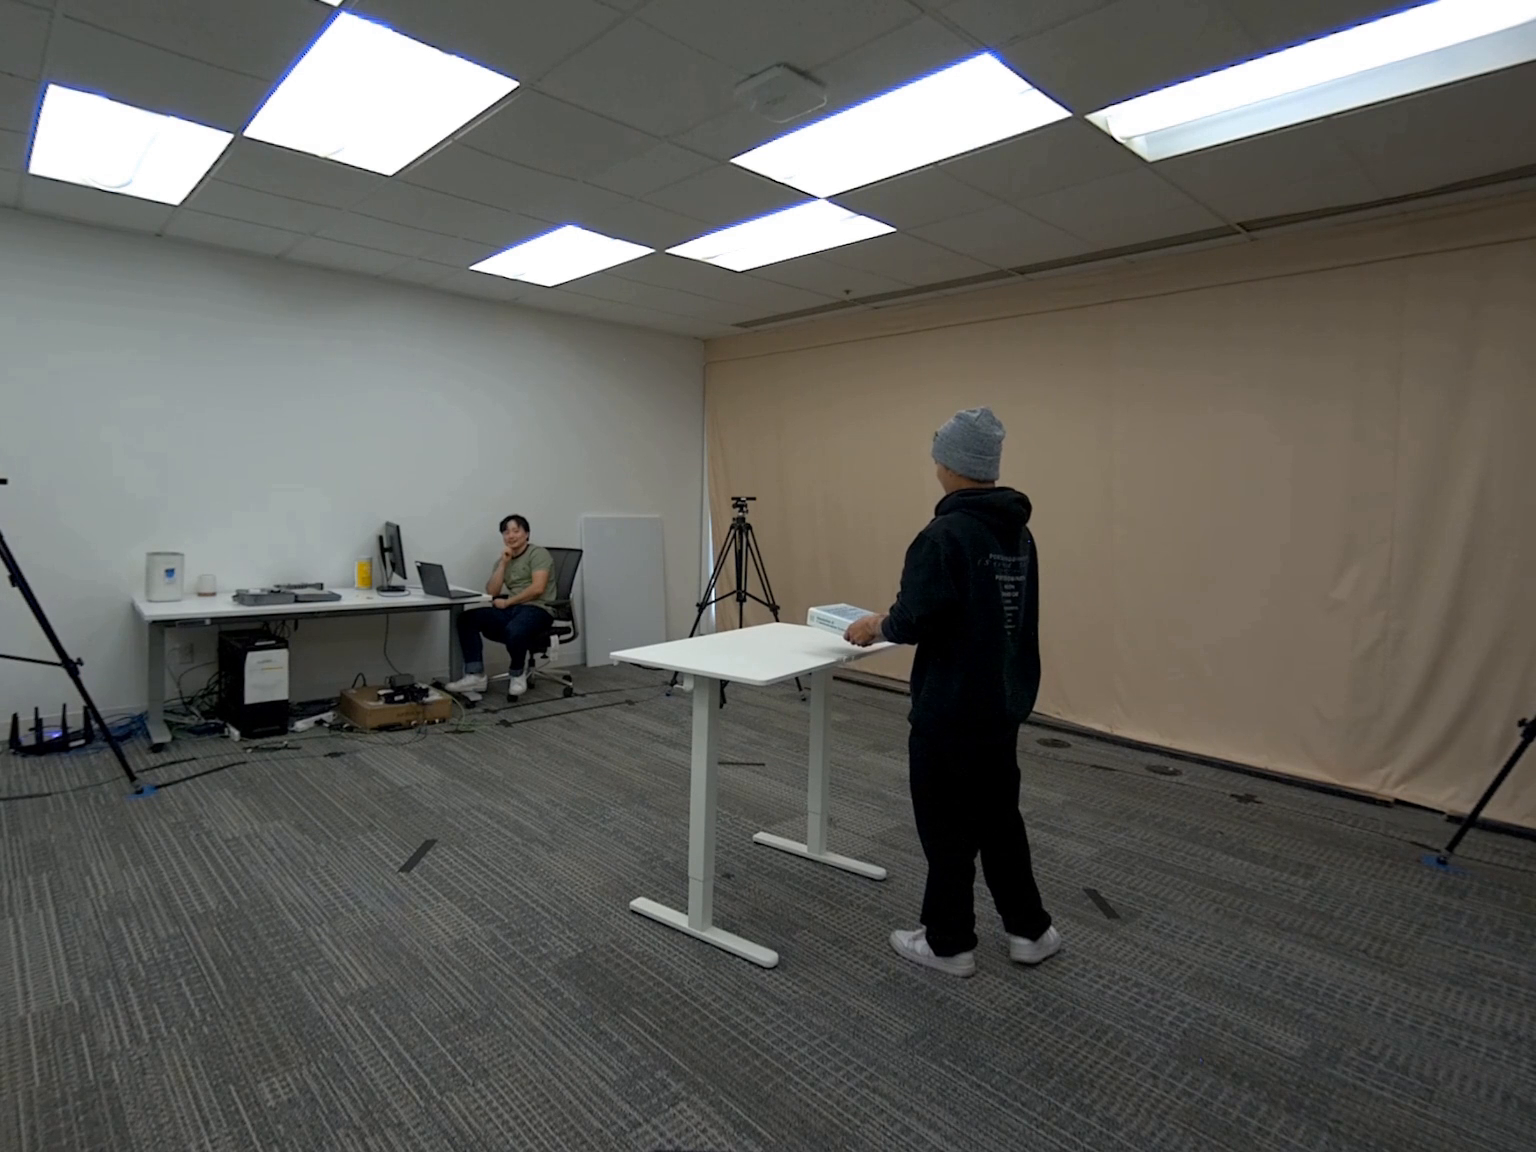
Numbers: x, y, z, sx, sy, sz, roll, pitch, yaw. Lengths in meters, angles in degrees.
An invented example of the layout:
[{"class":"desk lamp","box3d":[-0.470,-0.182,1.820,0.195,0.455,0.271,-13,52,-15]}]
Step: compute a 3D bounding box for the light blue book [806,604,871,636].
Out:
[{"class":"light blue book","box3d":[0.300,0.166,2.805,0.187,0.058,0.269,-5,16,-45]}]
